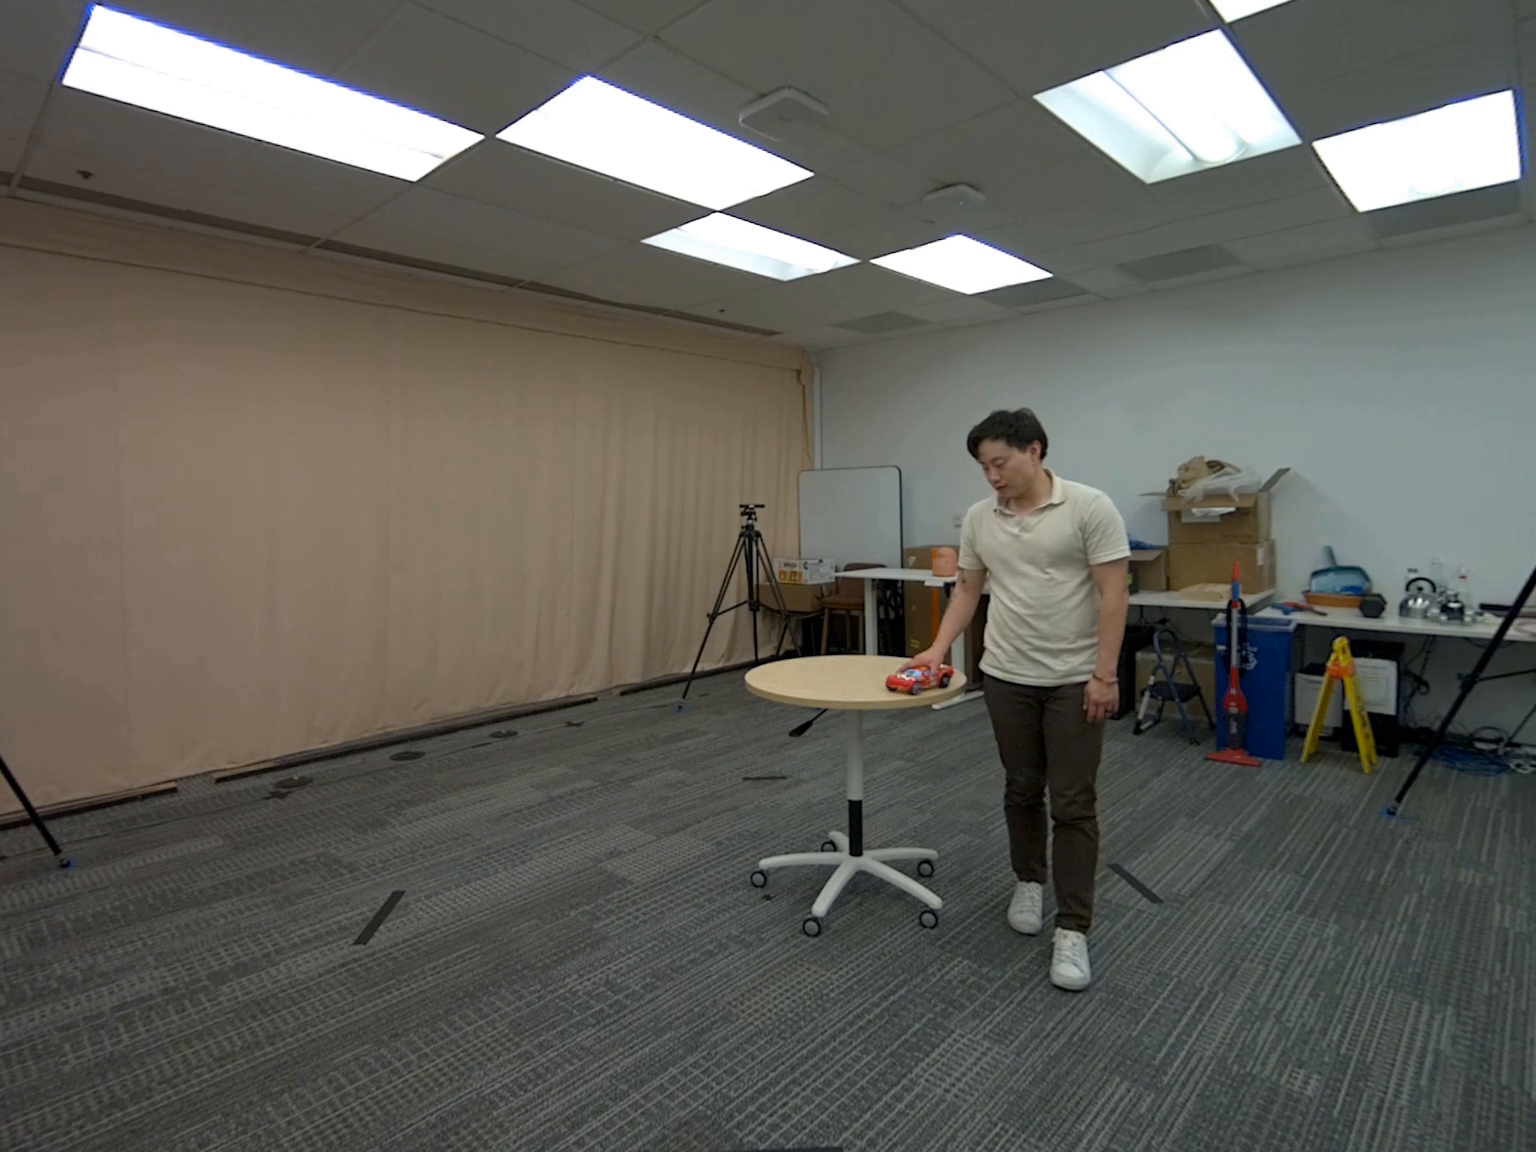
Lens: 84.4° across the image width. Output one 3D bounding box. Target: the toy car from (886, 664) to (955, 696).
[{"bbox_3d":[0.519,0.338,2.738,0.248,0.082,0.134,-17,12,-35],"label":"toy car"}]
